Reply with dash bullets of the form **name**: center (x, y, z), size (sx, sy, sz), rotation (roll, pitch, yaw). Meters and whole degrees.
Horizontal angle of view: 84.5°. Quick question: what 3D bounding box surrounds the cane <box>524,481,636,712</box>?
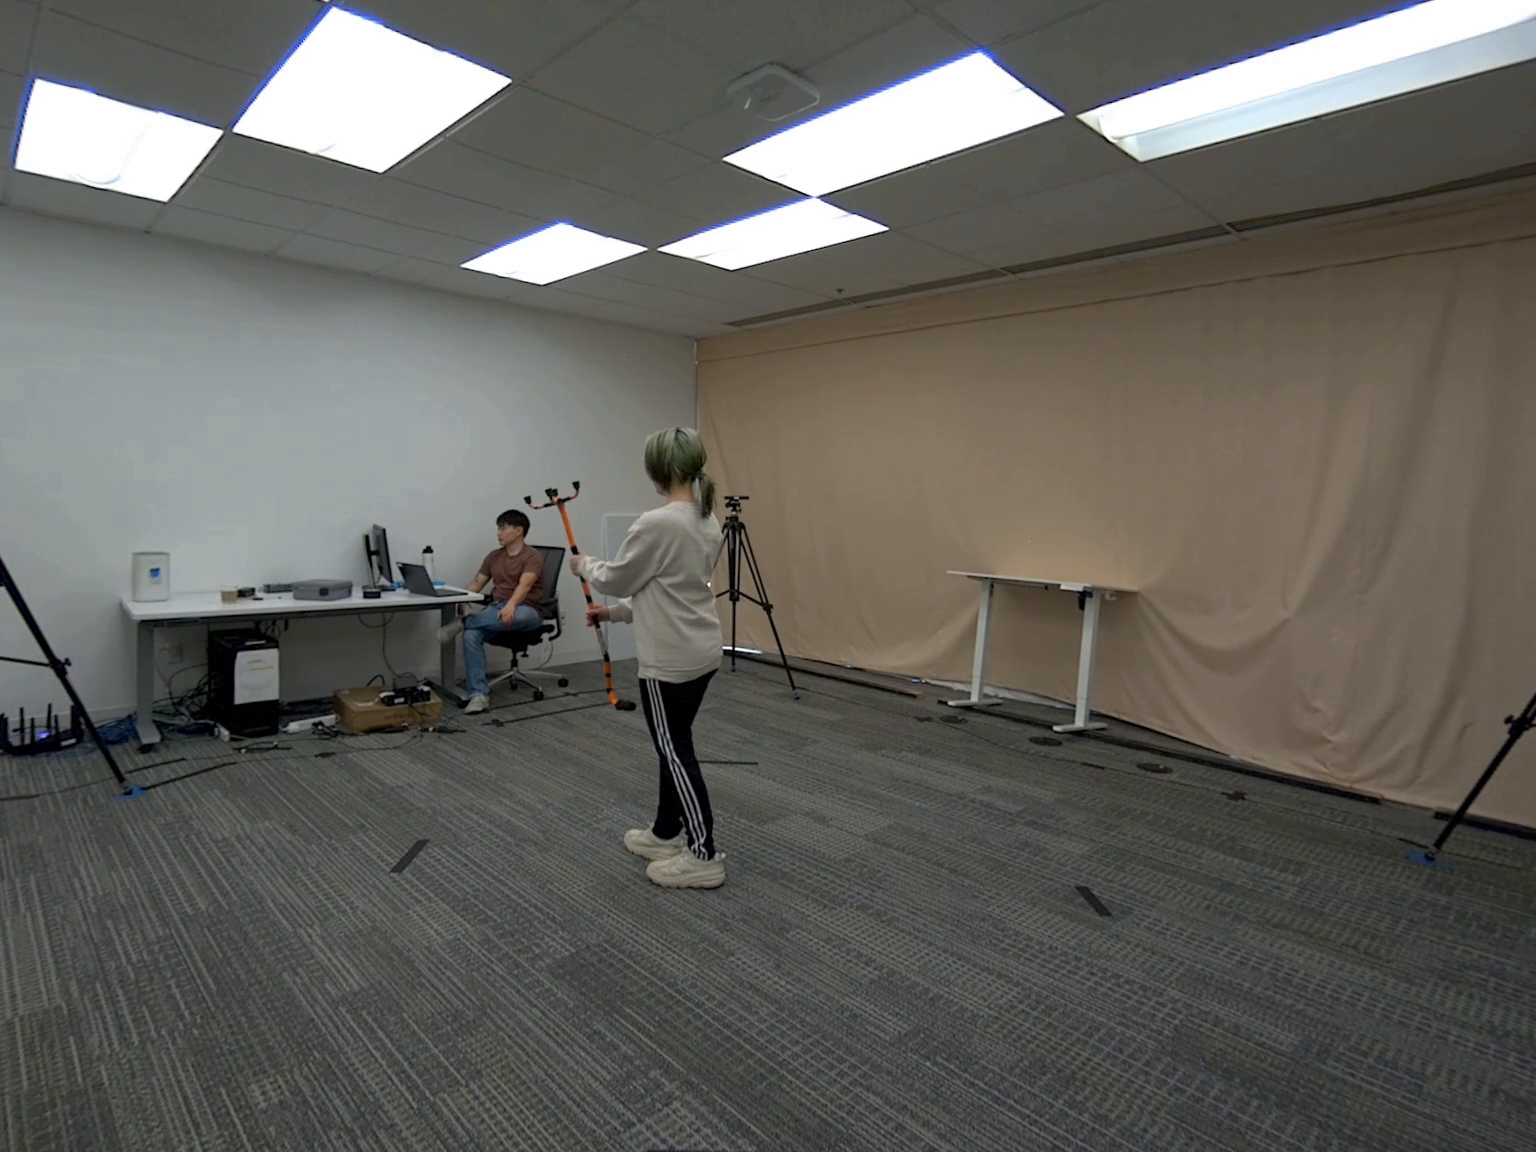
- **cane**: center (-0.719, 0.103, 3.289), size (0.149, 0.904, 0.210), rotation (-20, 6, -42)
